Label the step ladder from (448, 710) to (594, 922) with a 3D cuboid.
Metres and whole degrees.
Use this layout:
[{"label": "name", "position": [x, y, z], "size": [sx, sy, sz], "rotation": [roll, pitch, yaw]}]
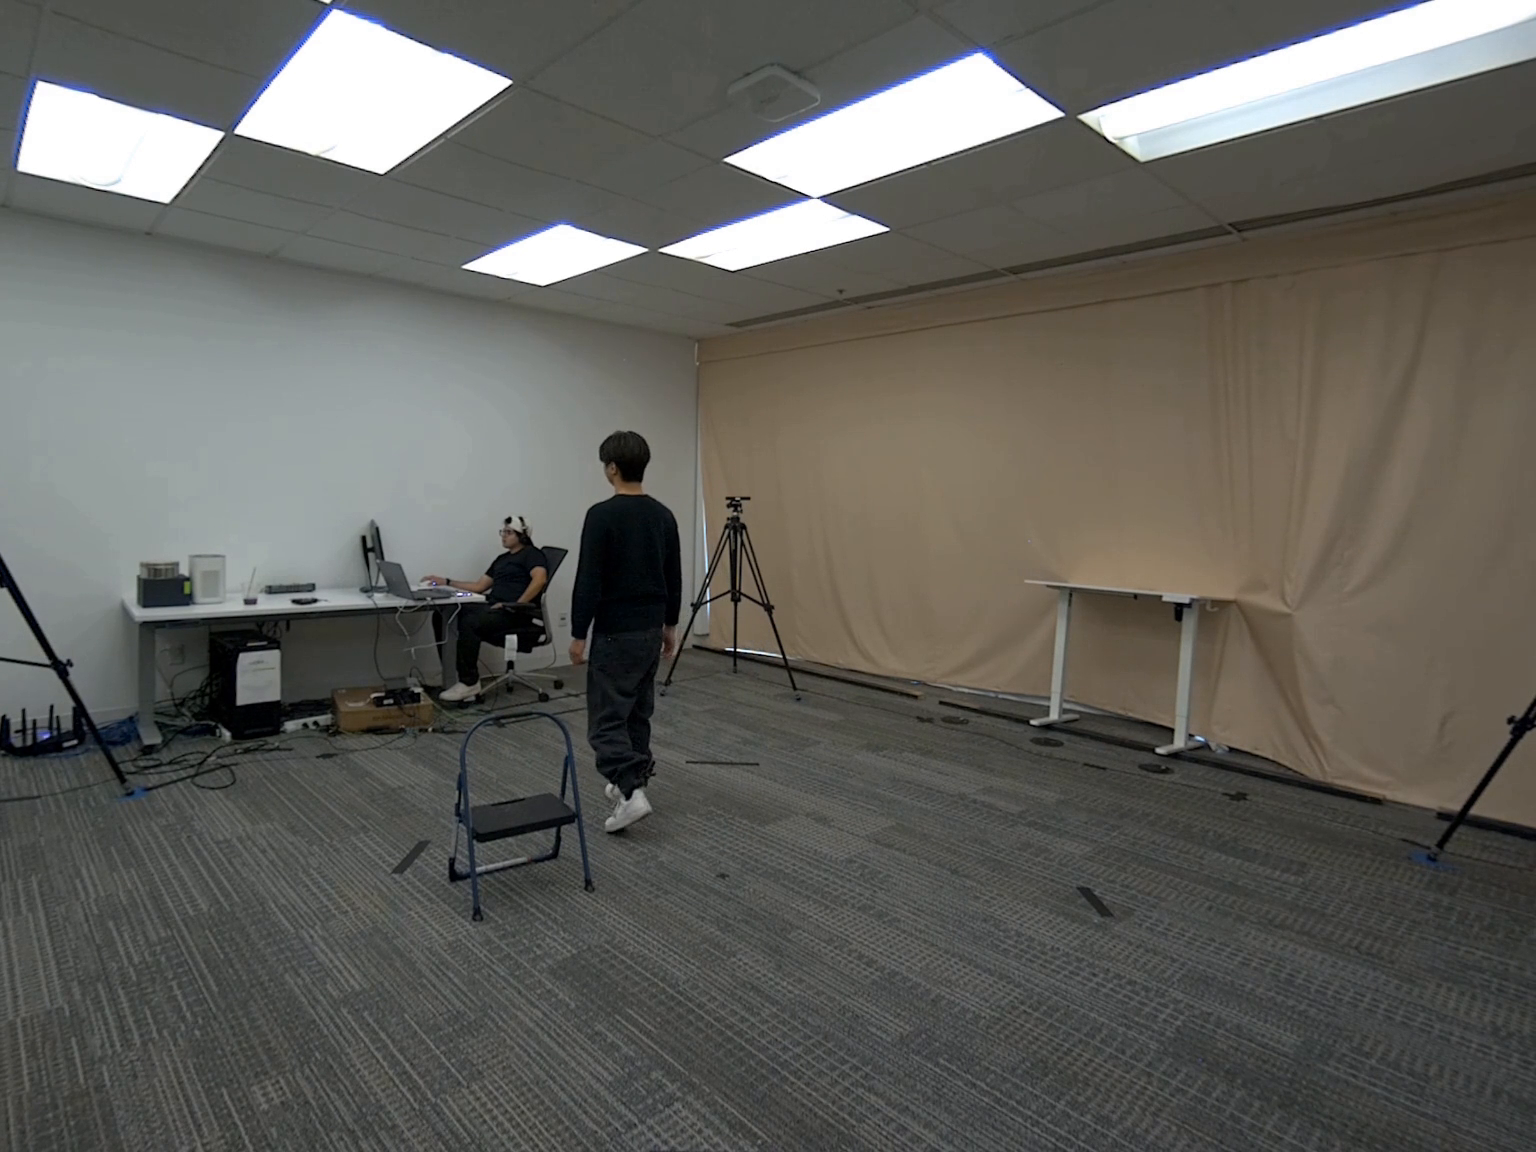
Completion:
[{"label": "step ladder", "position": [-0.883, 0.803, 2.975], "size": [0.421, 0.604, 0.358], "rotation": [-1, 5, -36]}]
